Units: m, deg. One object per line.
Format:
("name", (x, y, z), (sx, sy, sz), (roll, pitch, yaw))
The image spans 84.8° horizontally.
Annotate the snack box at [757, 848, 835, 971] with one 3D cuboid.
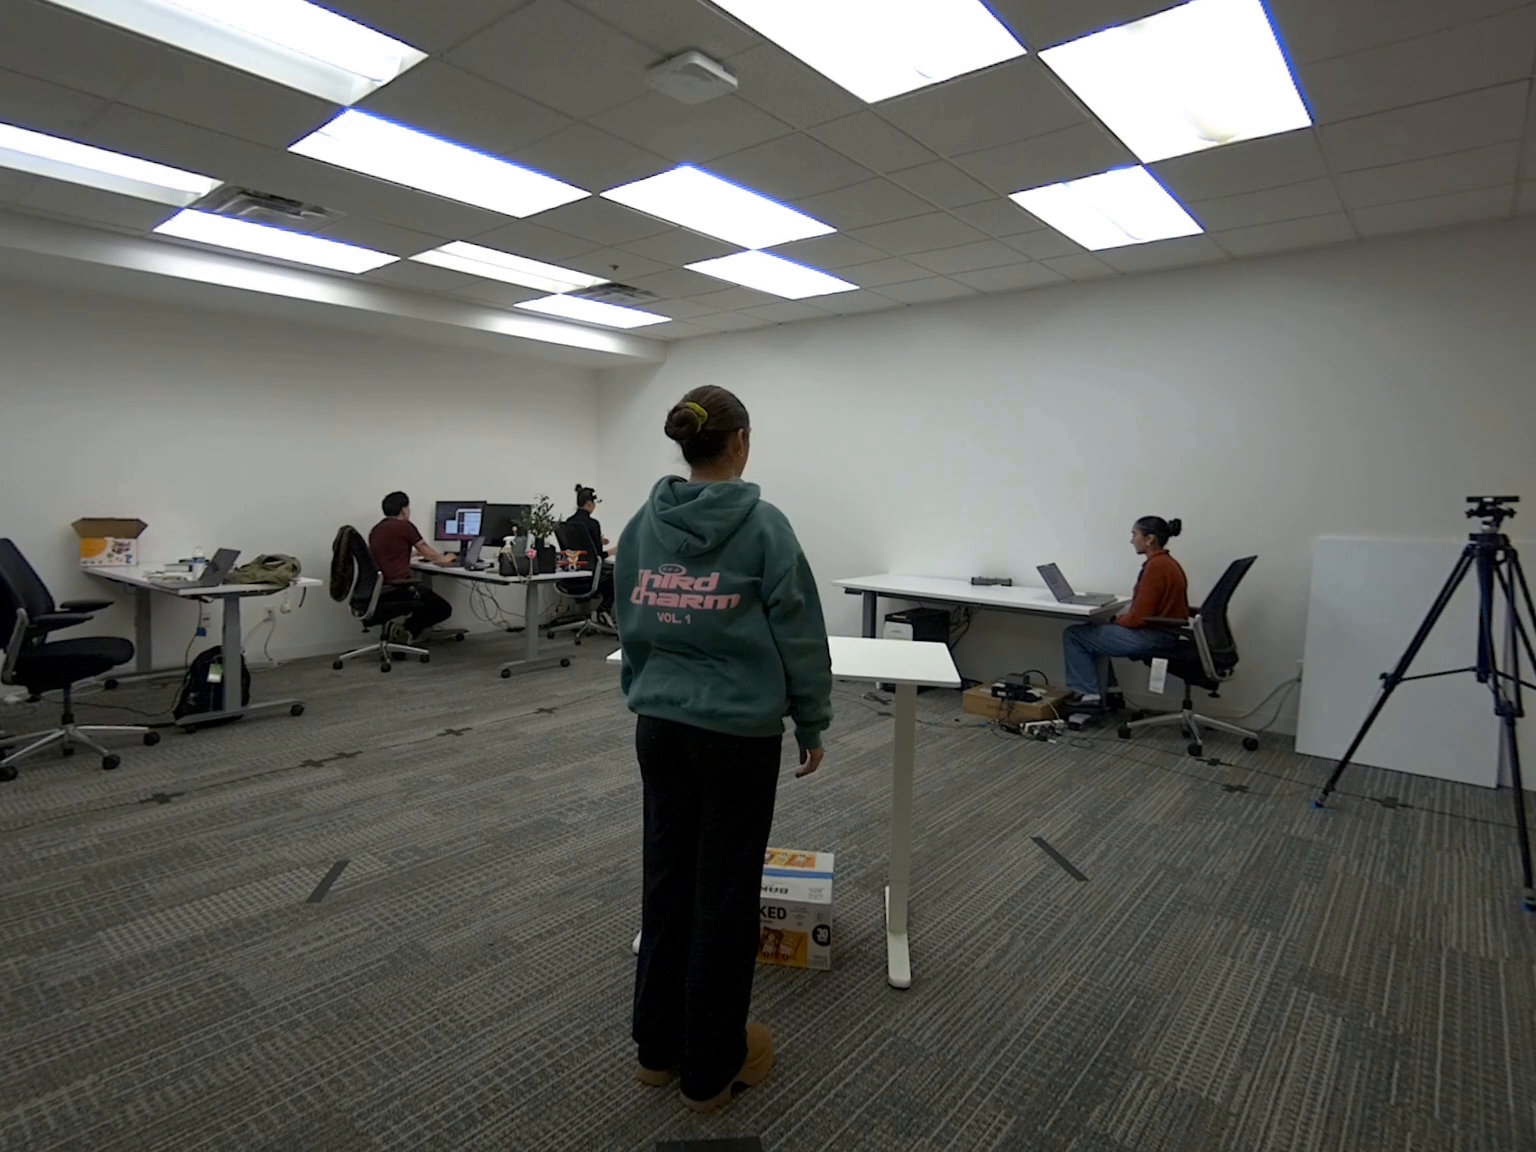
("snack box", (-0.008, 1.013, 2.640), (0.409, 0.205, 0.338), (2, 5, 7))
